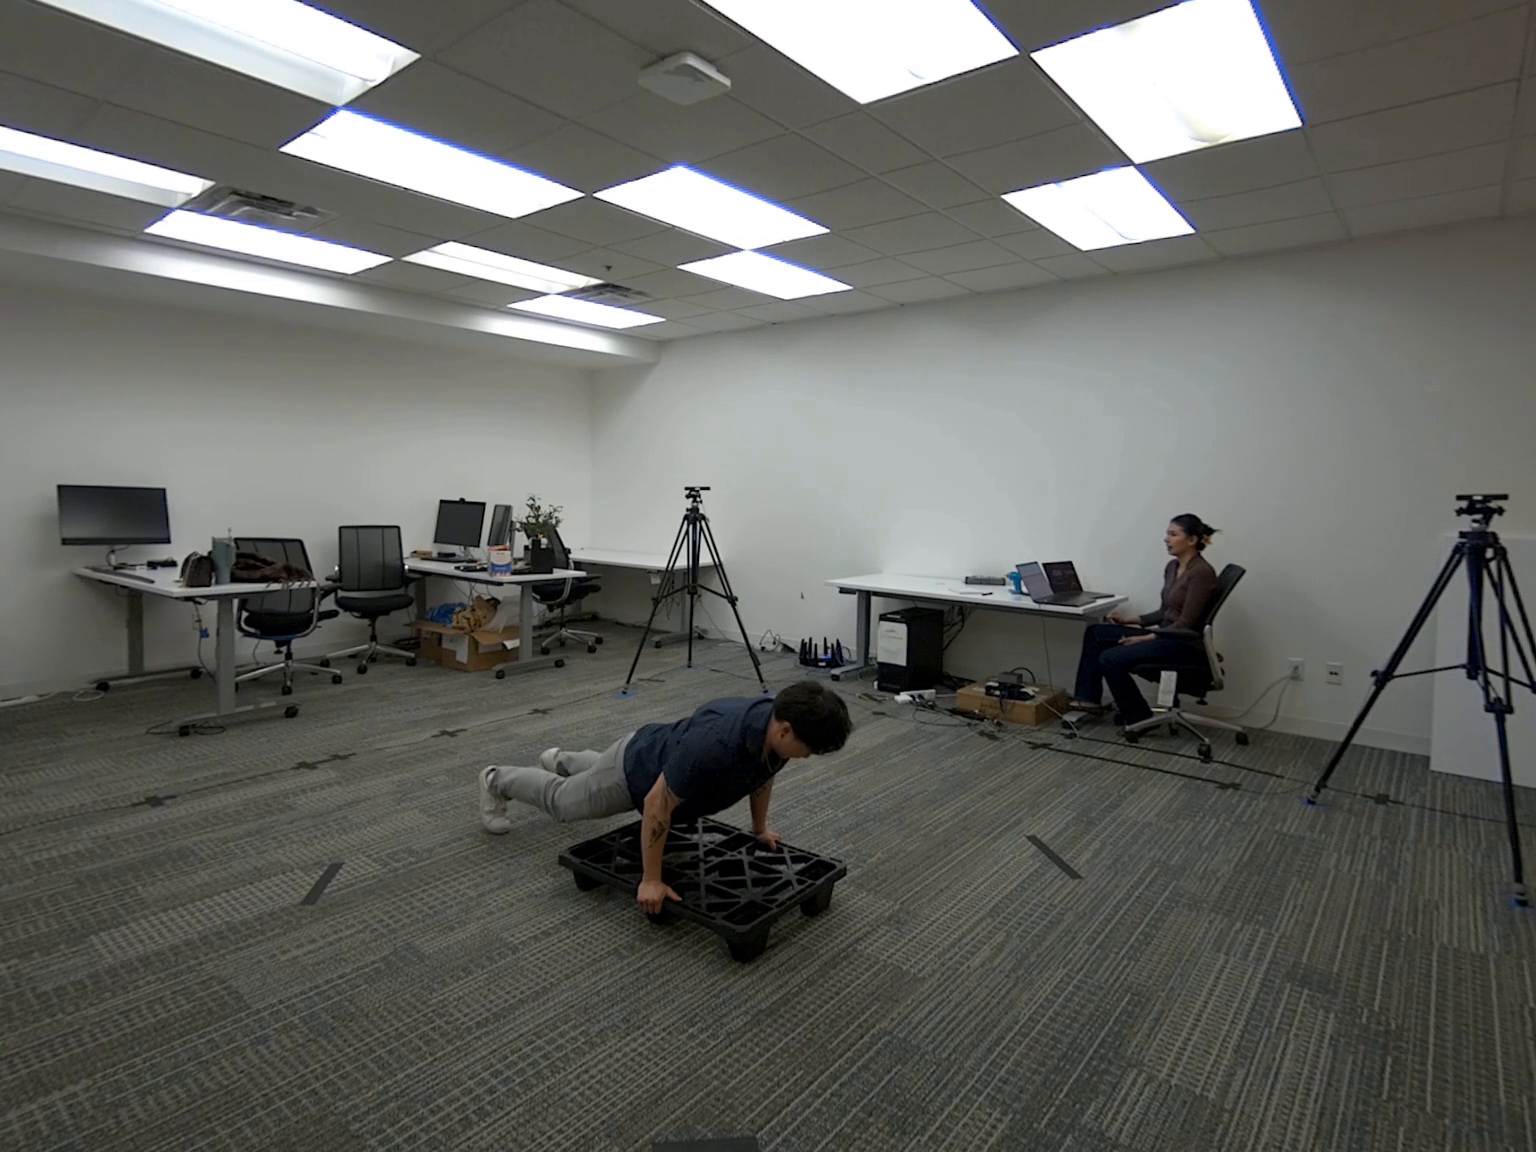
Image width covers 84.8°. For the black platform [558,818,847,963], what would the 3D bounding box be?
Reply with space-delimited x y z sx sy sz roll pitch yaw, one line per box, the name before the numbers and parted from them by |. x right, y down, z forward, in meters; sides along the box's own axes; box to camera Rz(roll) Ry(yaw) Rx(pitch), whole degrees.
black platform | -0.232 1.021 2.878 0.832 0.143 0.588 5 7 37
